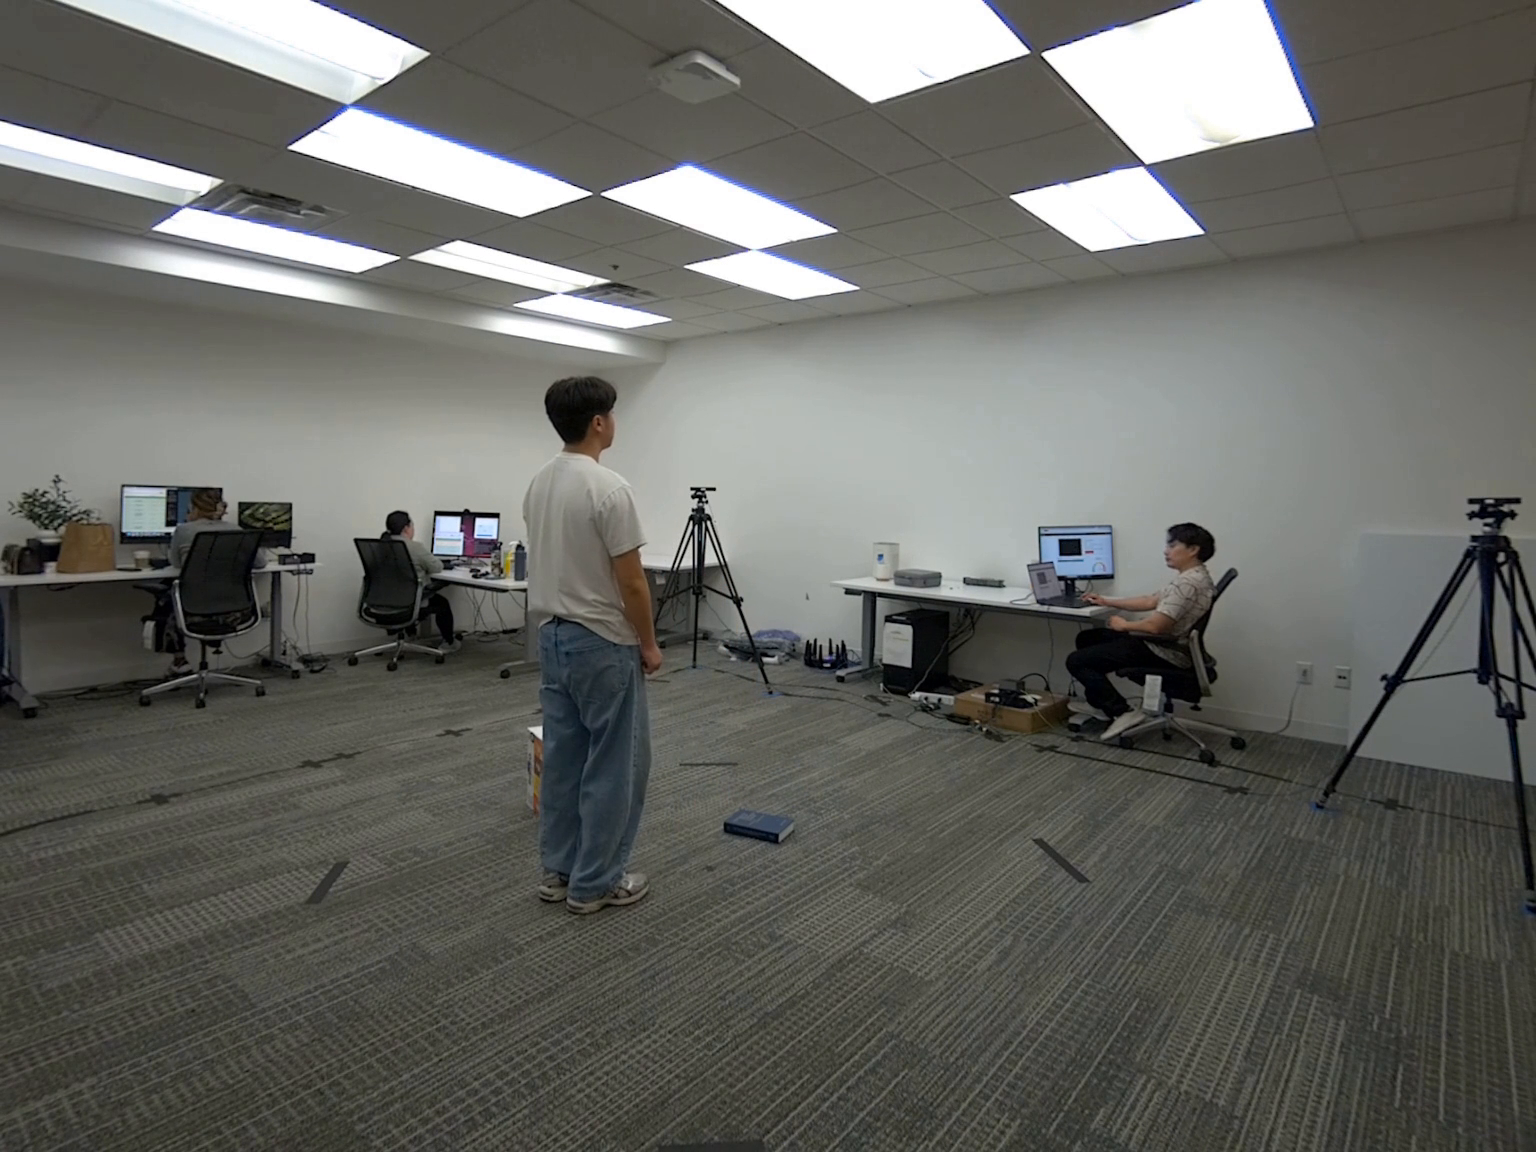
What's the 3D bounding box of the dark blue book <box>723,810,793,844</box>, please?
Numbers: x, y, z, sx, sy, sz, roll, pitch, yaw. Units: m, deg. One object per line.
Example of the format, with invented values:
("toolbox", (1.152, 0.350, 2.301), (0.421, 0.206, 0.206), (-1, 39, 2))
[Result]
("dark blue book", (-0.044, 1.012, 3.458), (0.252, 0.045, 0.160), (4, 6, 26))
